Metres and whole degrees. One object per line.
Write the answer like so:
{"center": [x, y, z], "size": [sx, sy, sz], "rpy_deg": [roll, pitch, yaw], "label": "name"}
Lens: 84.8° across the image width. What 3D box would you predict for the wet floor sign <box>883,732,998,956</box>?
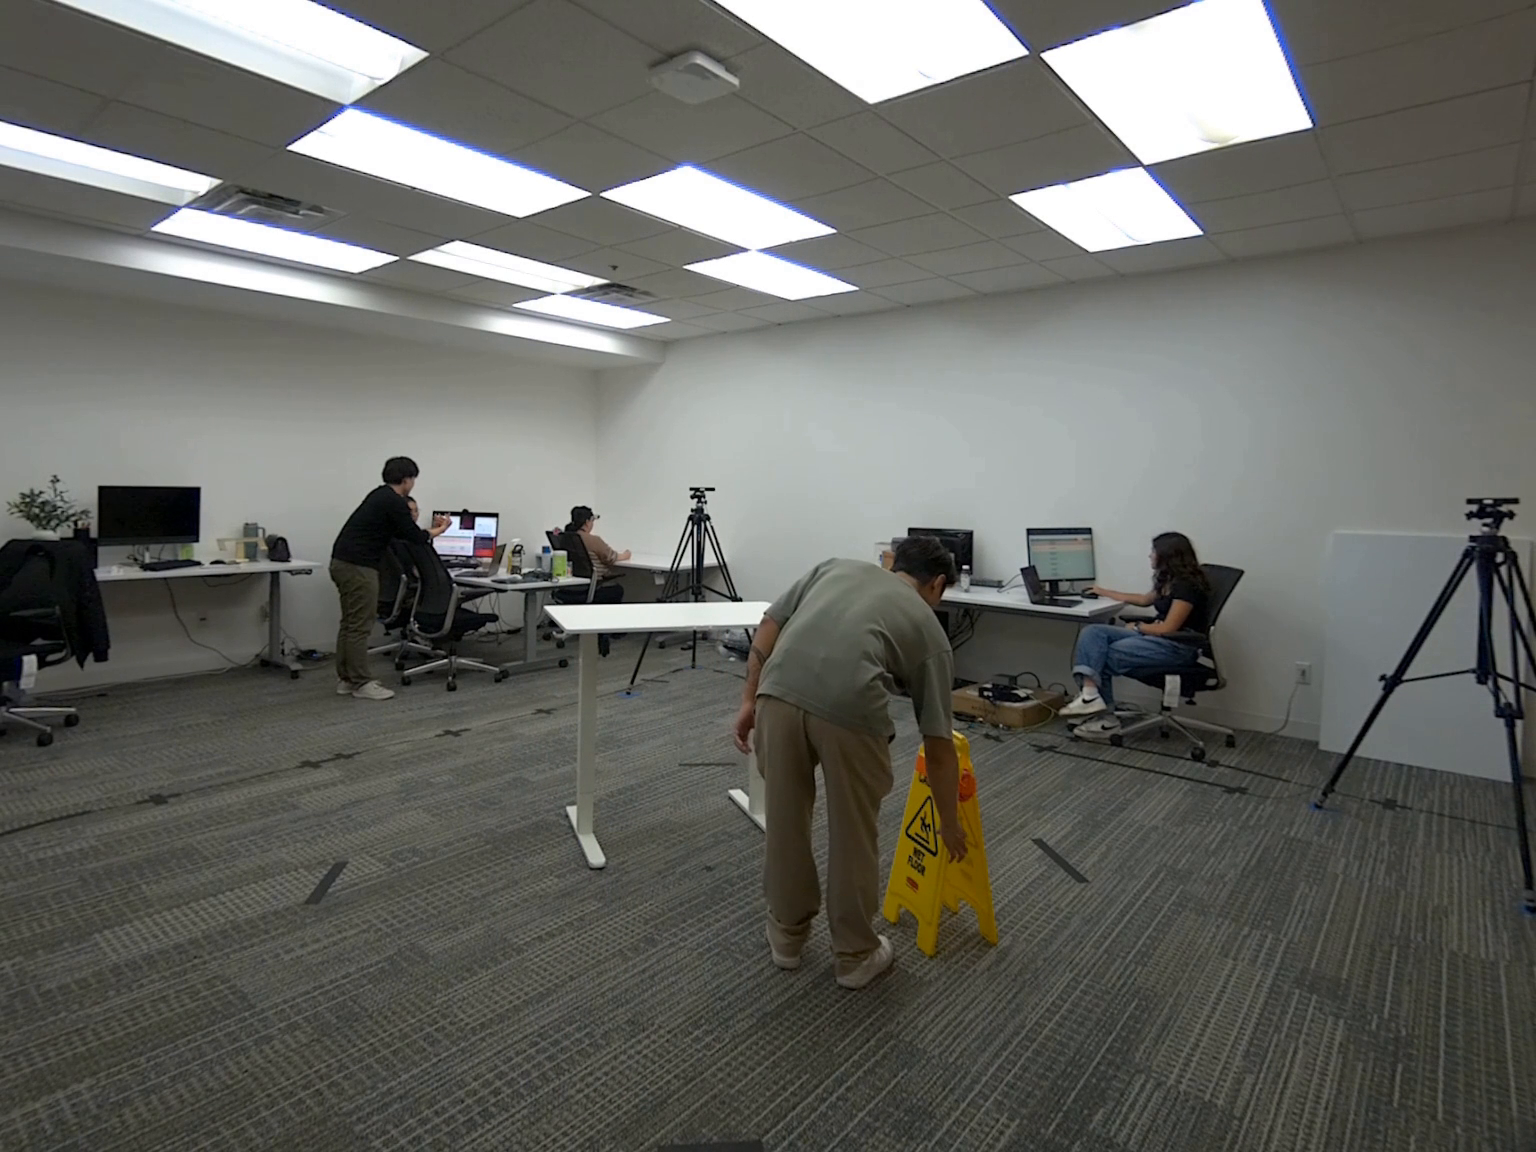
{"center": [0.553, 0.801, 2.703], "size": [0.283, 0.644, 0.289], "rpy_deg": [1, 4, -21], "label": "wet floor sign"}
